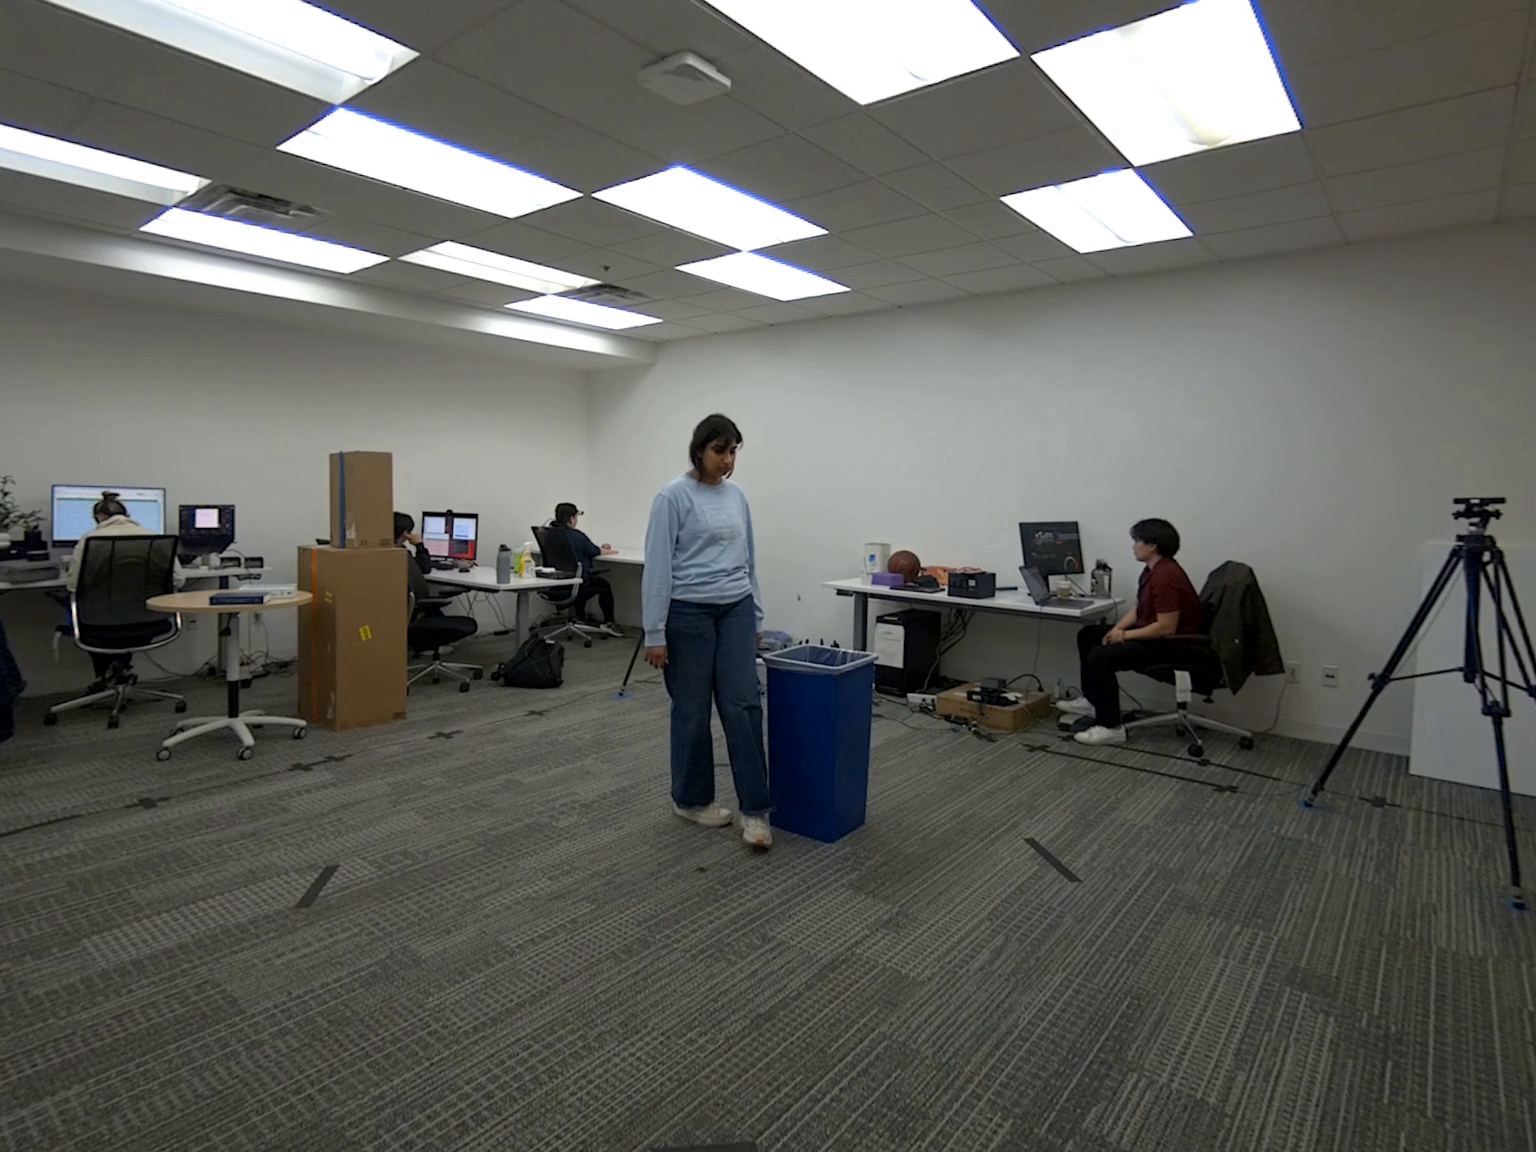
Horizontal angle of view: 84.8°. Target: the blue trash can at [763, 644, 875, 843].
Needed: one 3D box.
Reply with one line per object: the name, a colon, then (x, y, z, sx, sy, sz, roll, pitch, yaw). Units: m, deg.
blue trash can: (0.201, 0.680, 3.545, 0.386, 0.711, 0.368, 4, 5, 34)
